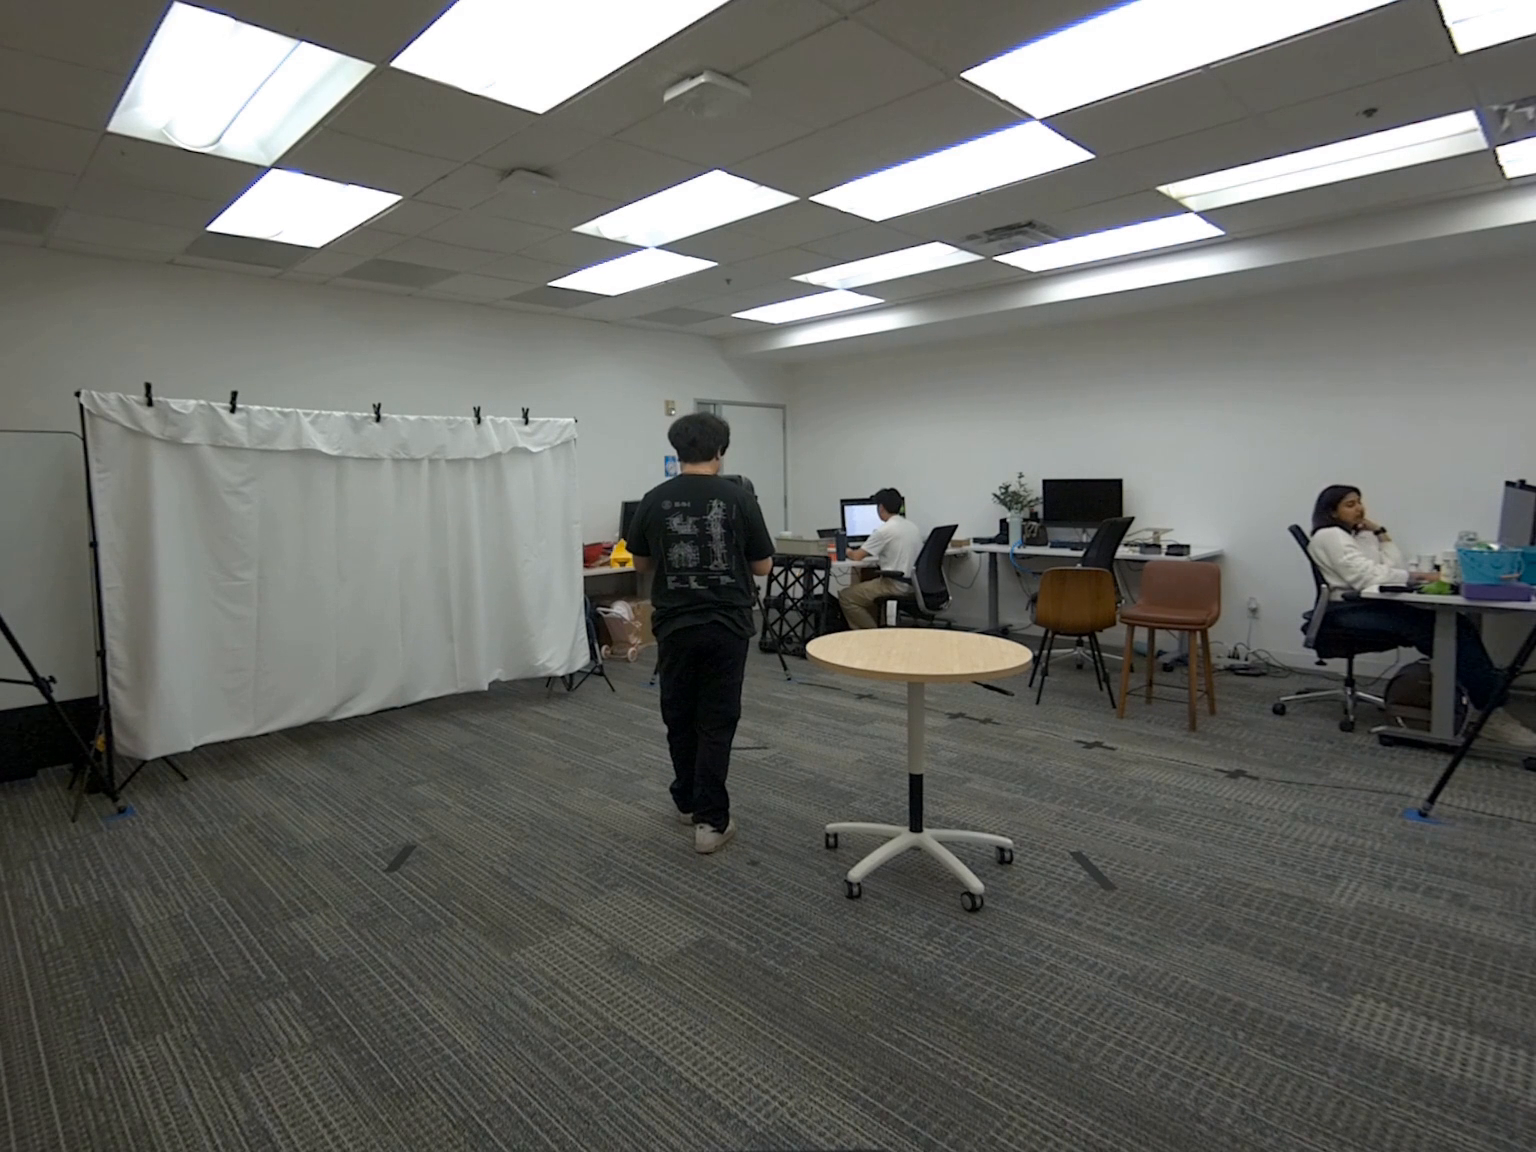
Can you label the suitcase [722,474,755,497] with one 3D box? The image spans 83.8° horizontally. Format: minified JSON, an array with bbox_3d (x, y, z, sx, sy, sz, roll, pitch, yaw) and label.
[{"bbox_3d":[-0.234,-0.158,3.635,0.380,0.552,0.244,0,-5,12],"label":"suitcase"}]
